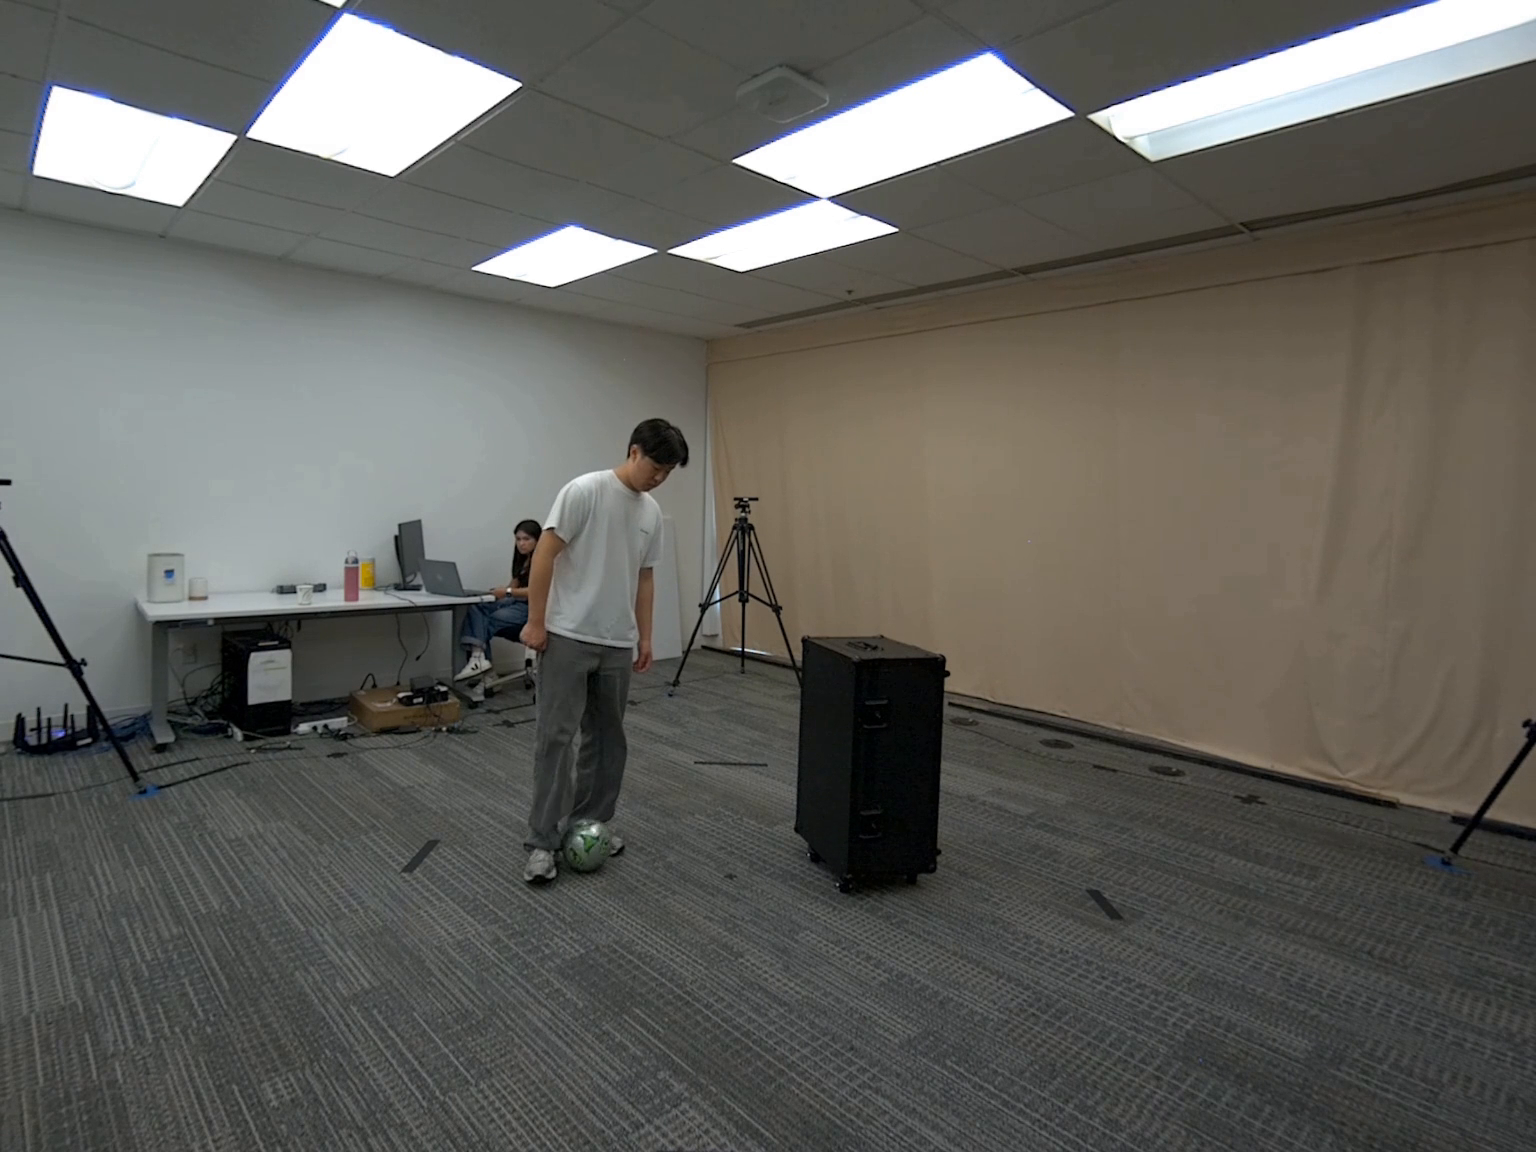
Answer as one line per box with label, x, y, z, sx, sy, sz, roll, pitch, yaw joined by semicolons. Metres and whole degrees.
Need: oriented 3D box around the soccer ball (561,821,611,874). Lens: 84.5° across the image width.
soccer ball;-0.685;0.992;3.132;0.187;0.187;0.188;1;4;-1
